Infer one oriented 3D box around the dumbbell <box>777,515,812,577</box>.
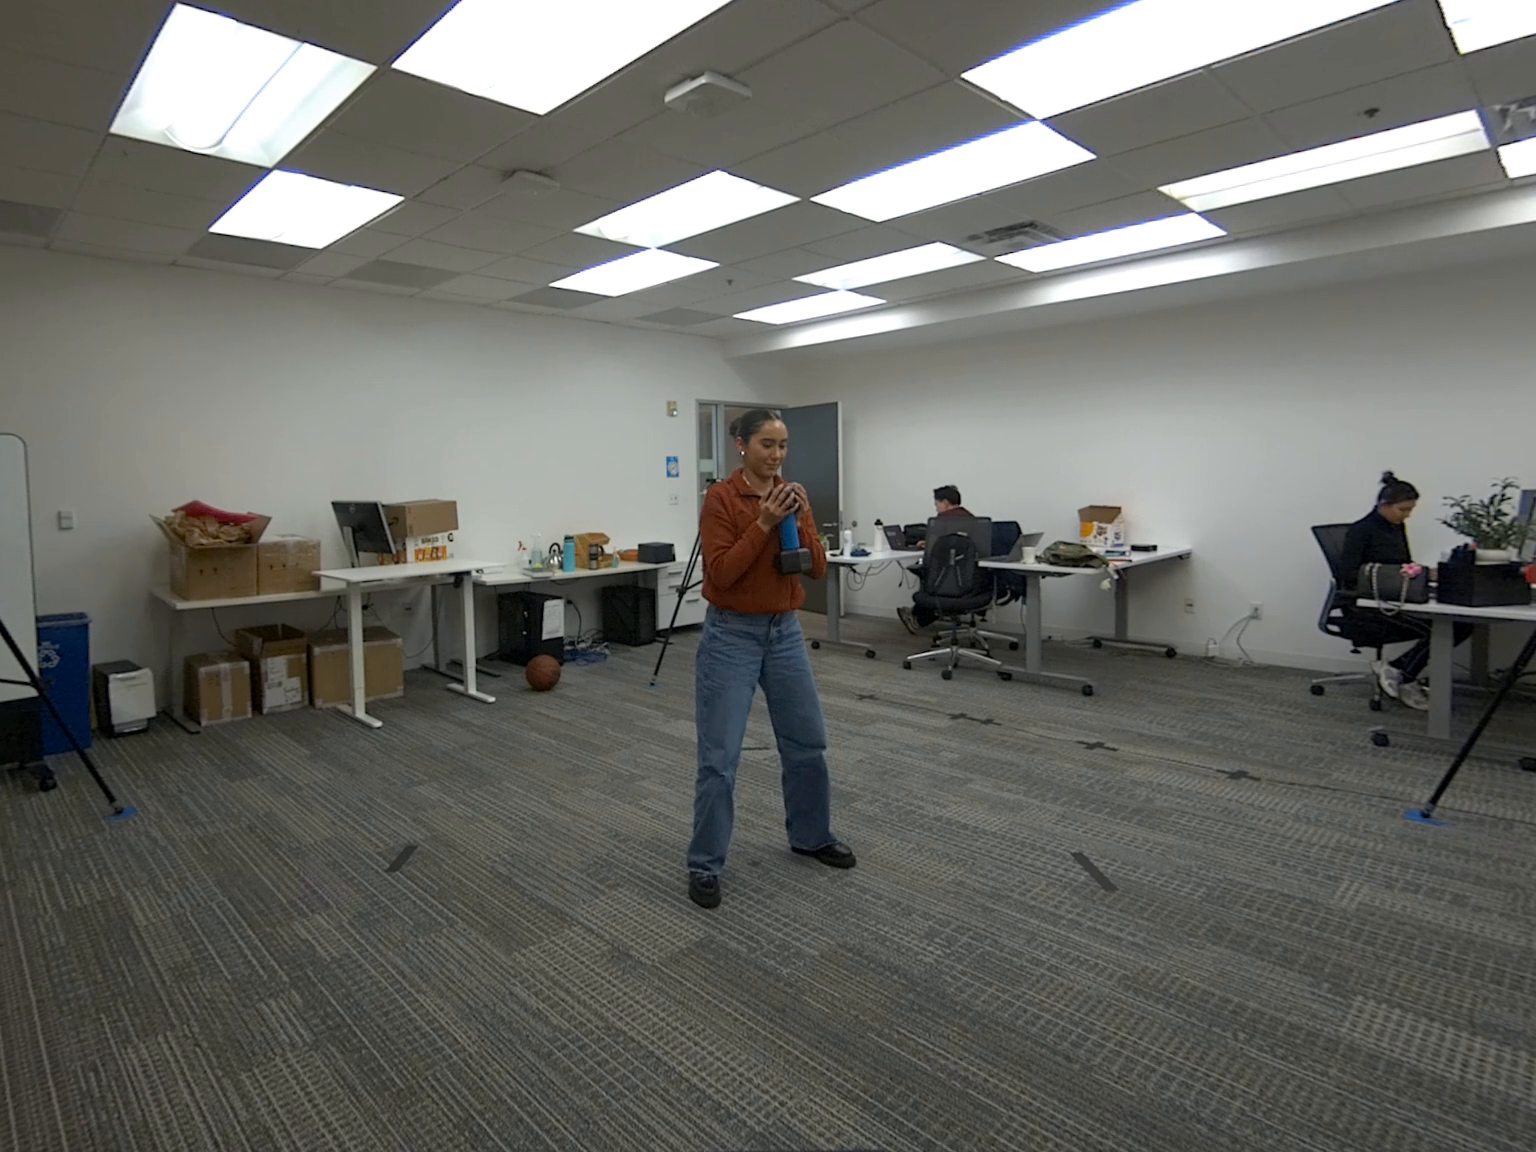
[{"bbox_3d":[0.052,-0.131,2.851,0.120,0.295,0.111,-10,-6,-45],"label":"dumbbell"}]
